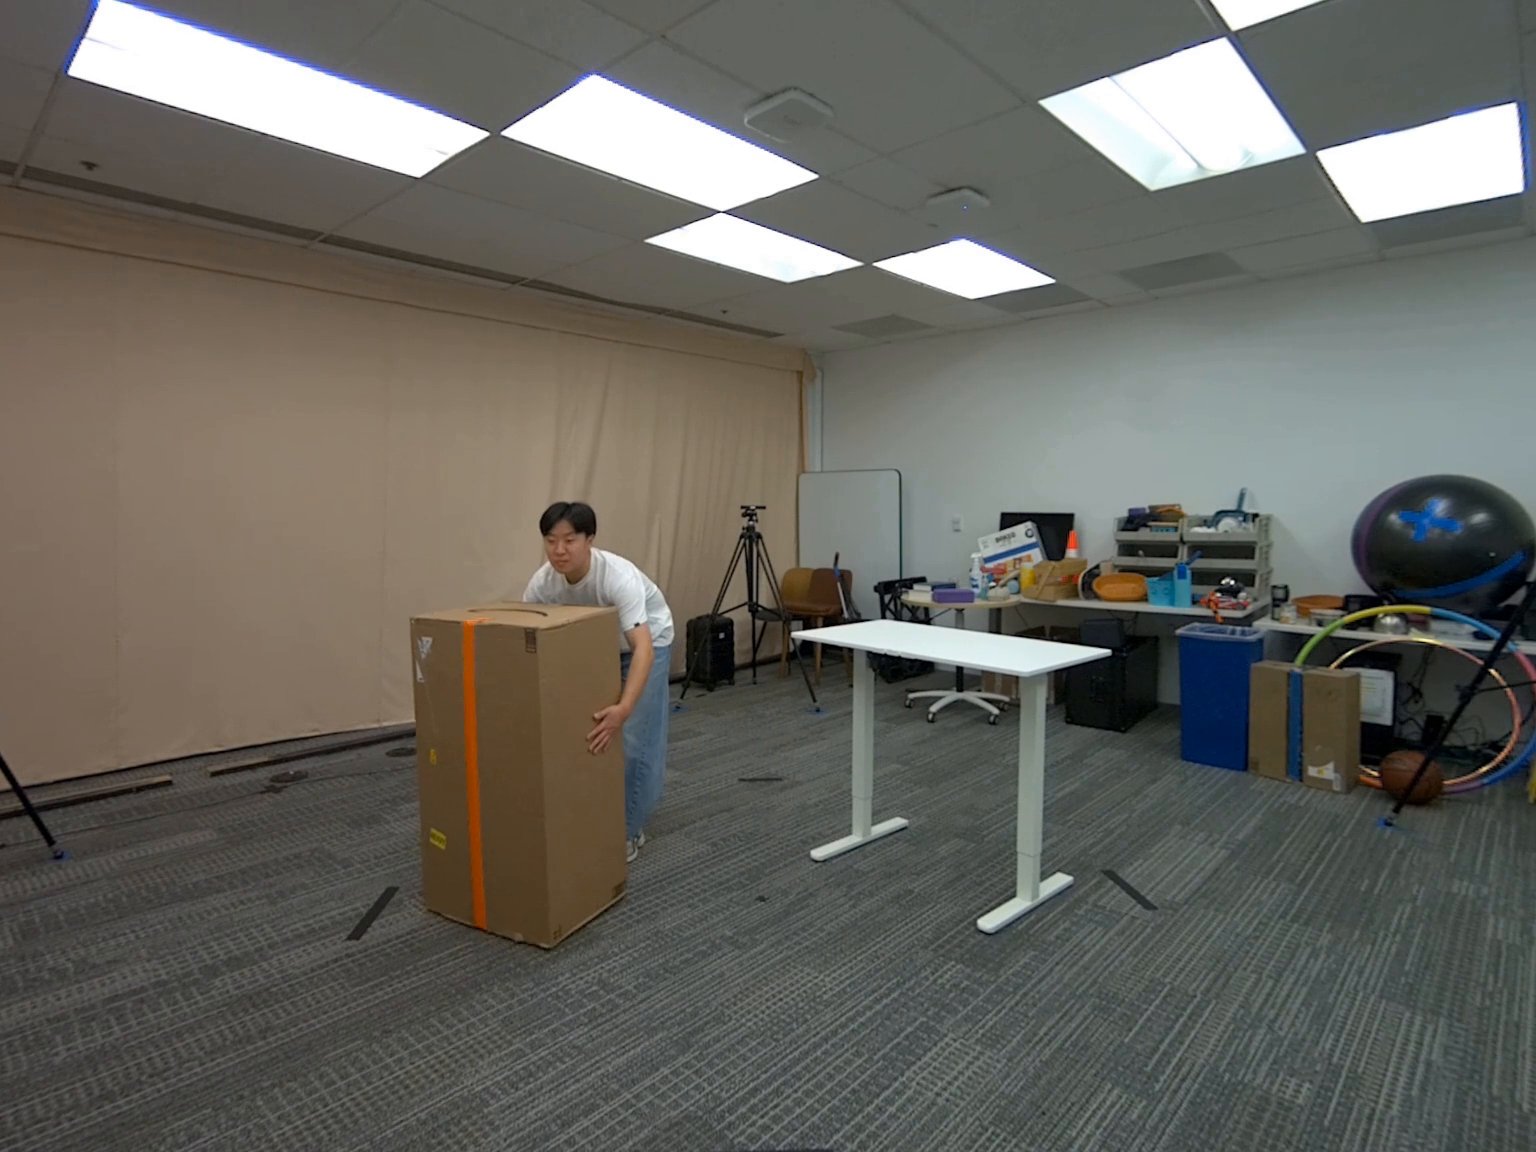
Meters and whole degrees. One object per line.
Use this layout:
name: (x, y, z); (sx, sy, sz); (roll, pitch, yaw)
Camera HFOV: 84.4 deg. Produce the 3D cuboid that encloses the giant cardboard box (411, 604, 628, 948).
giant cardboard box: (-0.851, 0.616, 2.917); (0.594, 1.023, 0.415); (1, 5, 30)
